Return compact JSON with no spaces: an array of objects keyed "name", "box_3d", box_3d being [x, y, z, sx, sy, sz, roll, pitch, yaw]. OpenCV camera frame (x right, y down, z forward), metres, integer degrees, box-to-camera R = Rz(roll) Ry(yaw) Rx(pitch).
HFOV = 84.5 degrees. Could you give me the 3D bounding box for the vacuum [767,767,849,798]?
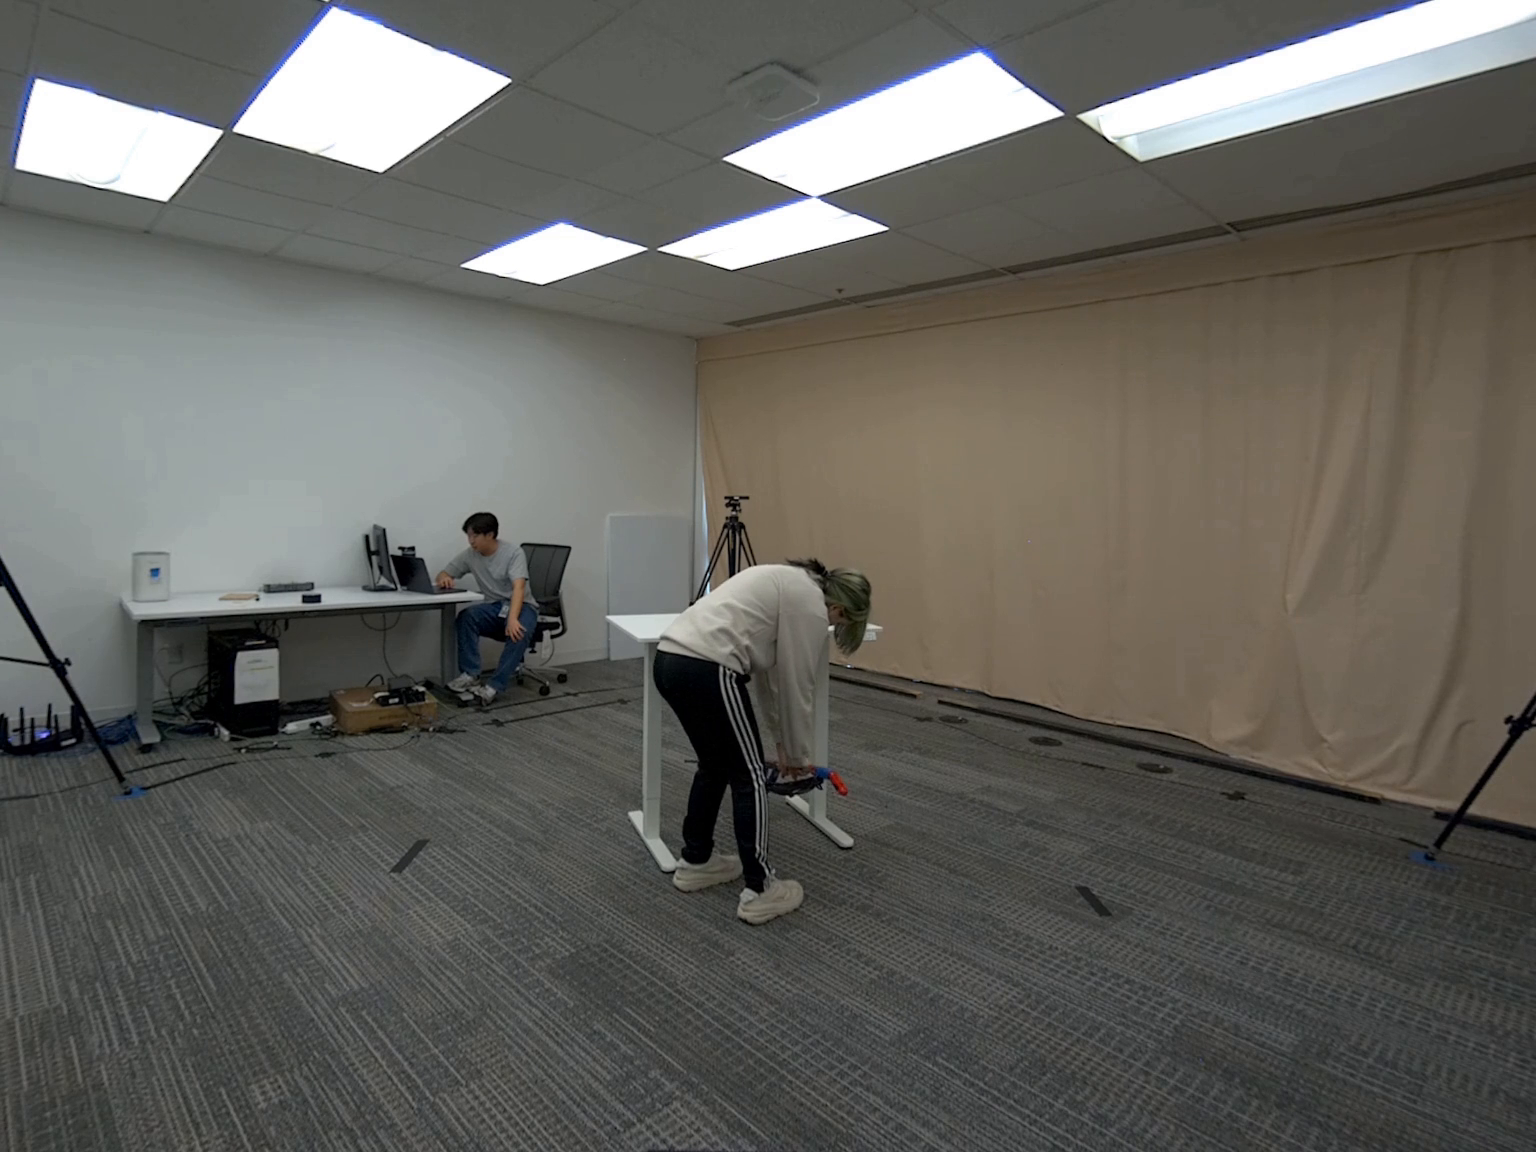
[{"name":"vacuum","box_3d":[0.036,0.754,3.142,0.248,0.145,1.059,18,-15,-19]}]
